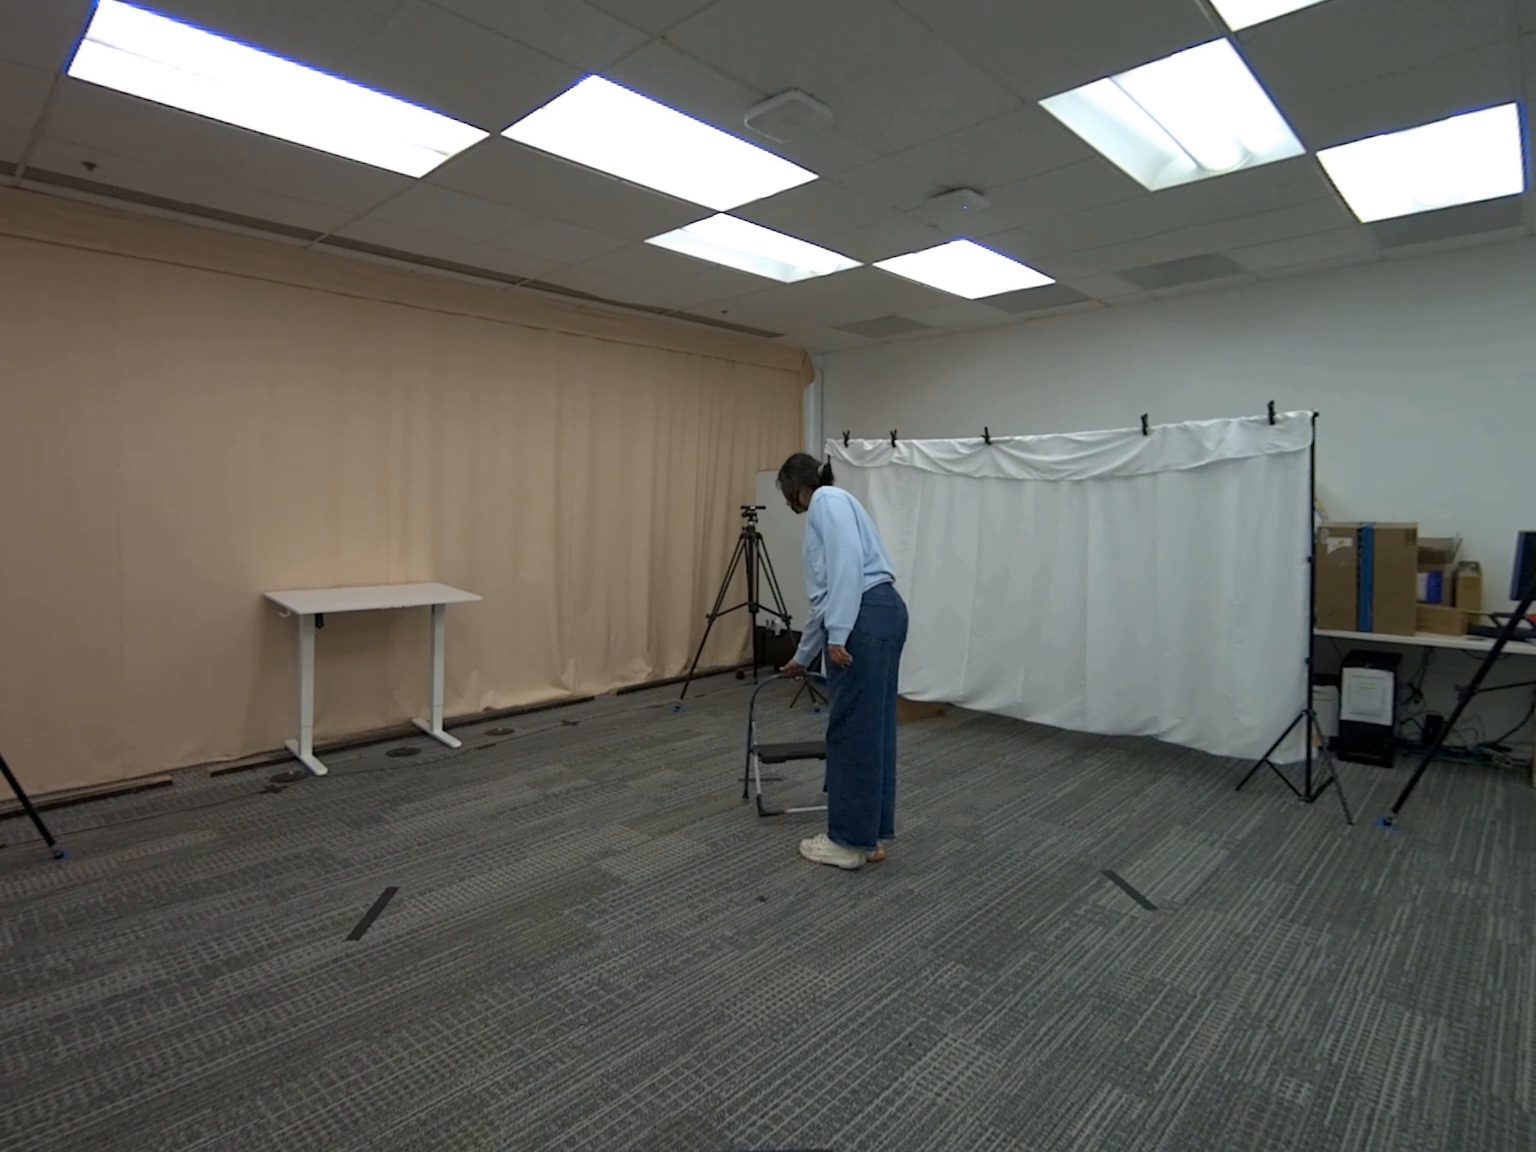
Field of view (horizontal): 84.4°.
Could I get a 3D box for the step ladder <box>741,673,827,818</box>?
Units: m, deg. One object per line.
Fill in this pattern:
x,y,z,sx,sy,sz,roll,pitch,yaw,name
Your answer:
0.117,0.737,3.852,0.426,0.606,0.353,-2,0,-12,step ladder
